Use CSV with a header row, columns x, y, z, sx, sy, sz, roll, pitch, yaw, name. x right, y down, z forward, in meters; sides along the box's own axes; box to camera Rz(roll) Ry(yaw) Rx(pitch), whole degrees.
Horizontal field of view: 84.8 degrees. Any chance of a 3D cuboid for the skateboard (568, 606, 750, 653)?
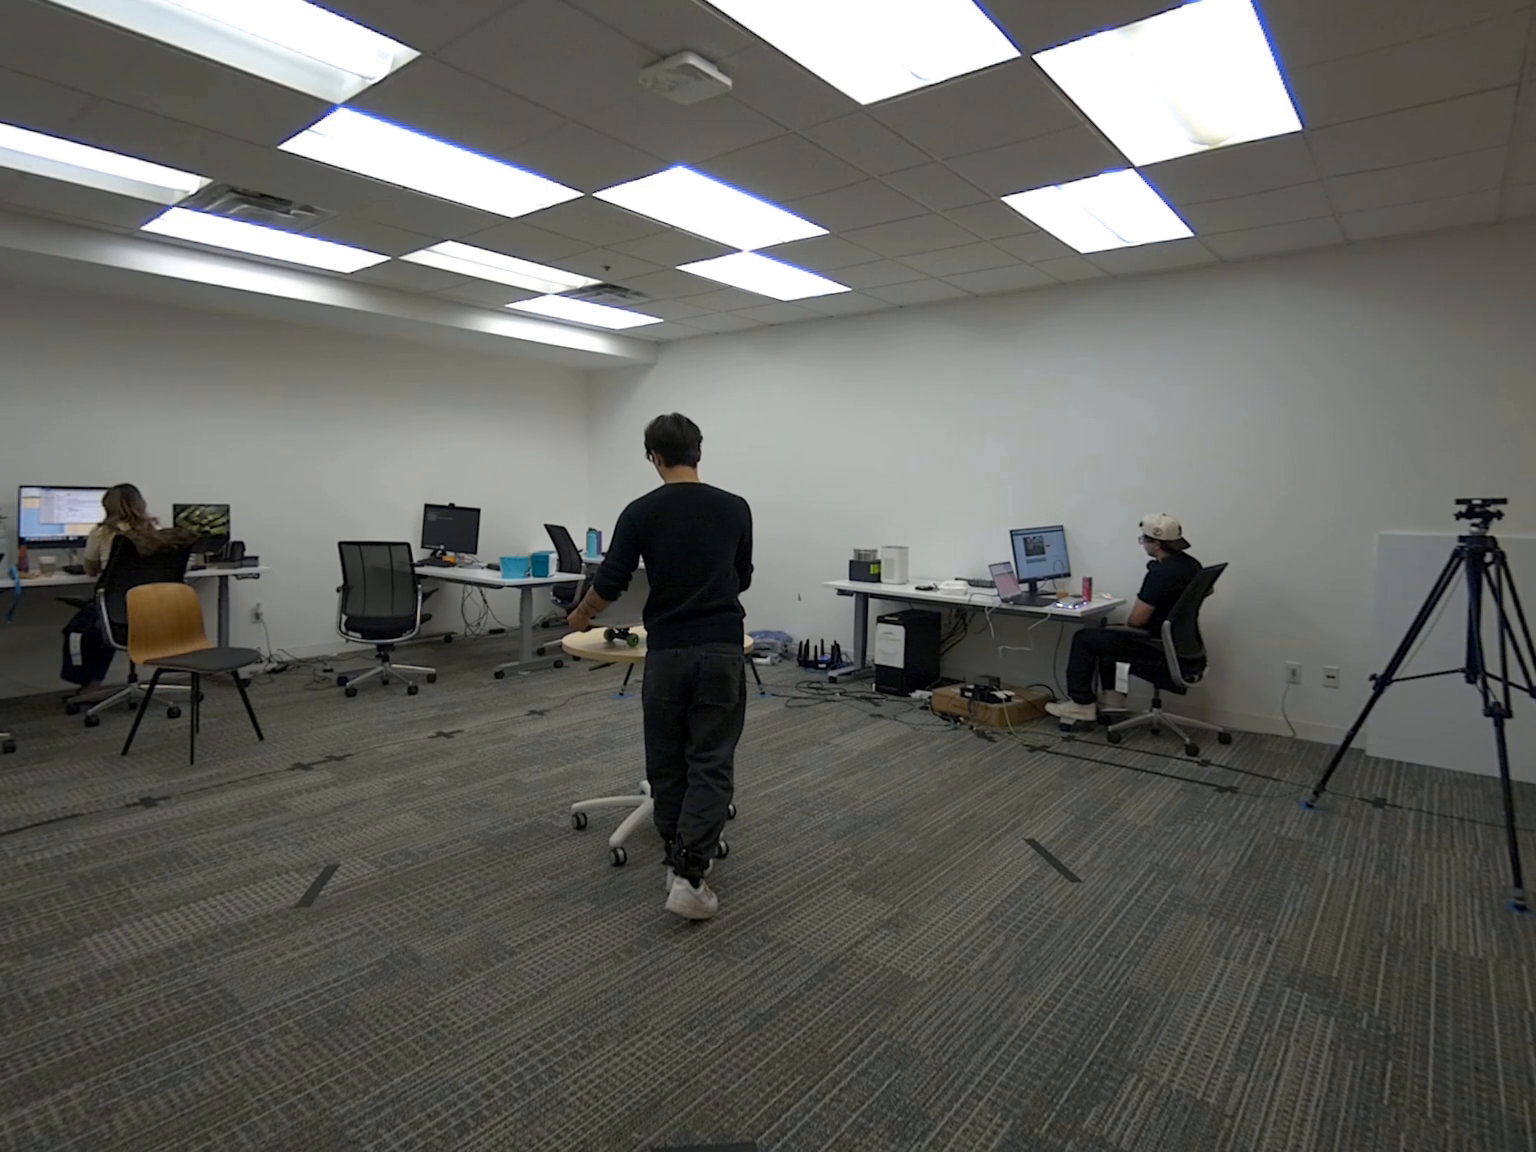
x,y,z,sx,sy,sz,roll,pitch,yaw,name
-0.426,0.199,3.436,0.762,0.110,0.200,-4,7,-44,skateboard
